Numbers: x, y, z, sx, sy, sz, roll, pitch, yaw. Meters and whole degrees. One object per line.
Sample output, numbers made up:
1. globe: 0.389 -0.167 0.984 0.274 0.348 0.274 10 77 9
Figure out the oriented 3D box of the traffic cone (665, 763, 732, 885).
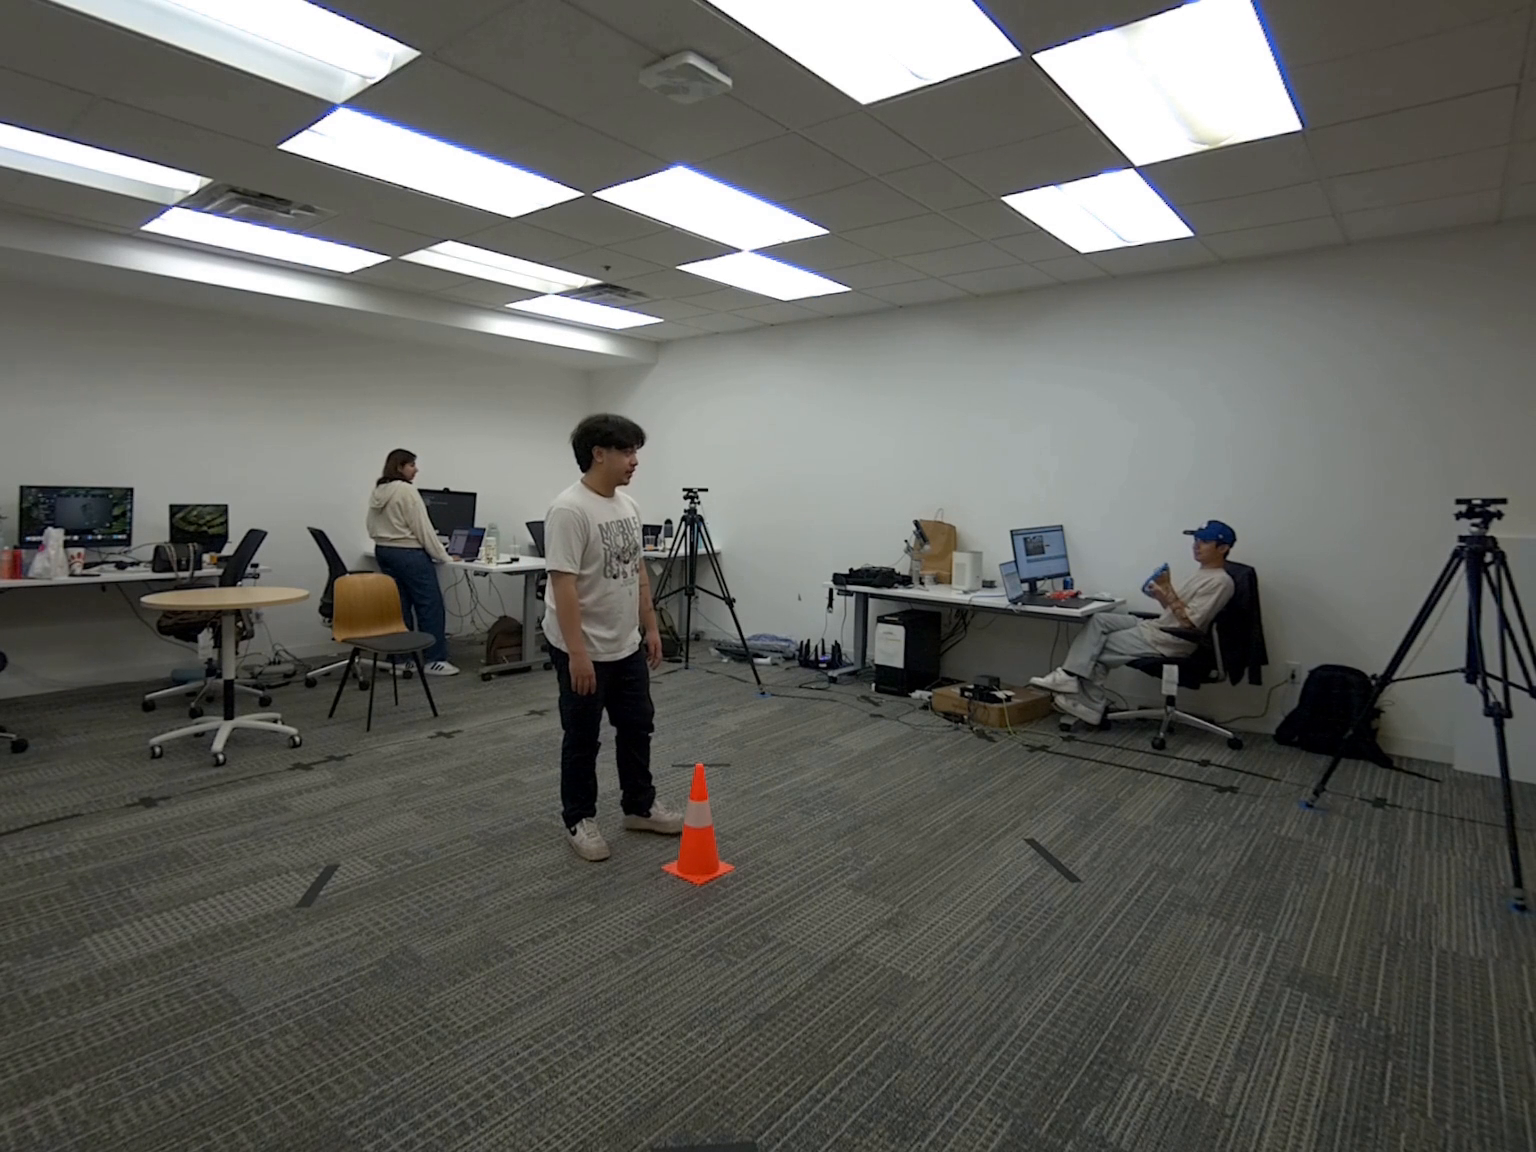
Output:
1. traffic cone: -0.263 0.885 3.115 0.210 0.383 0.199 3 2 34
